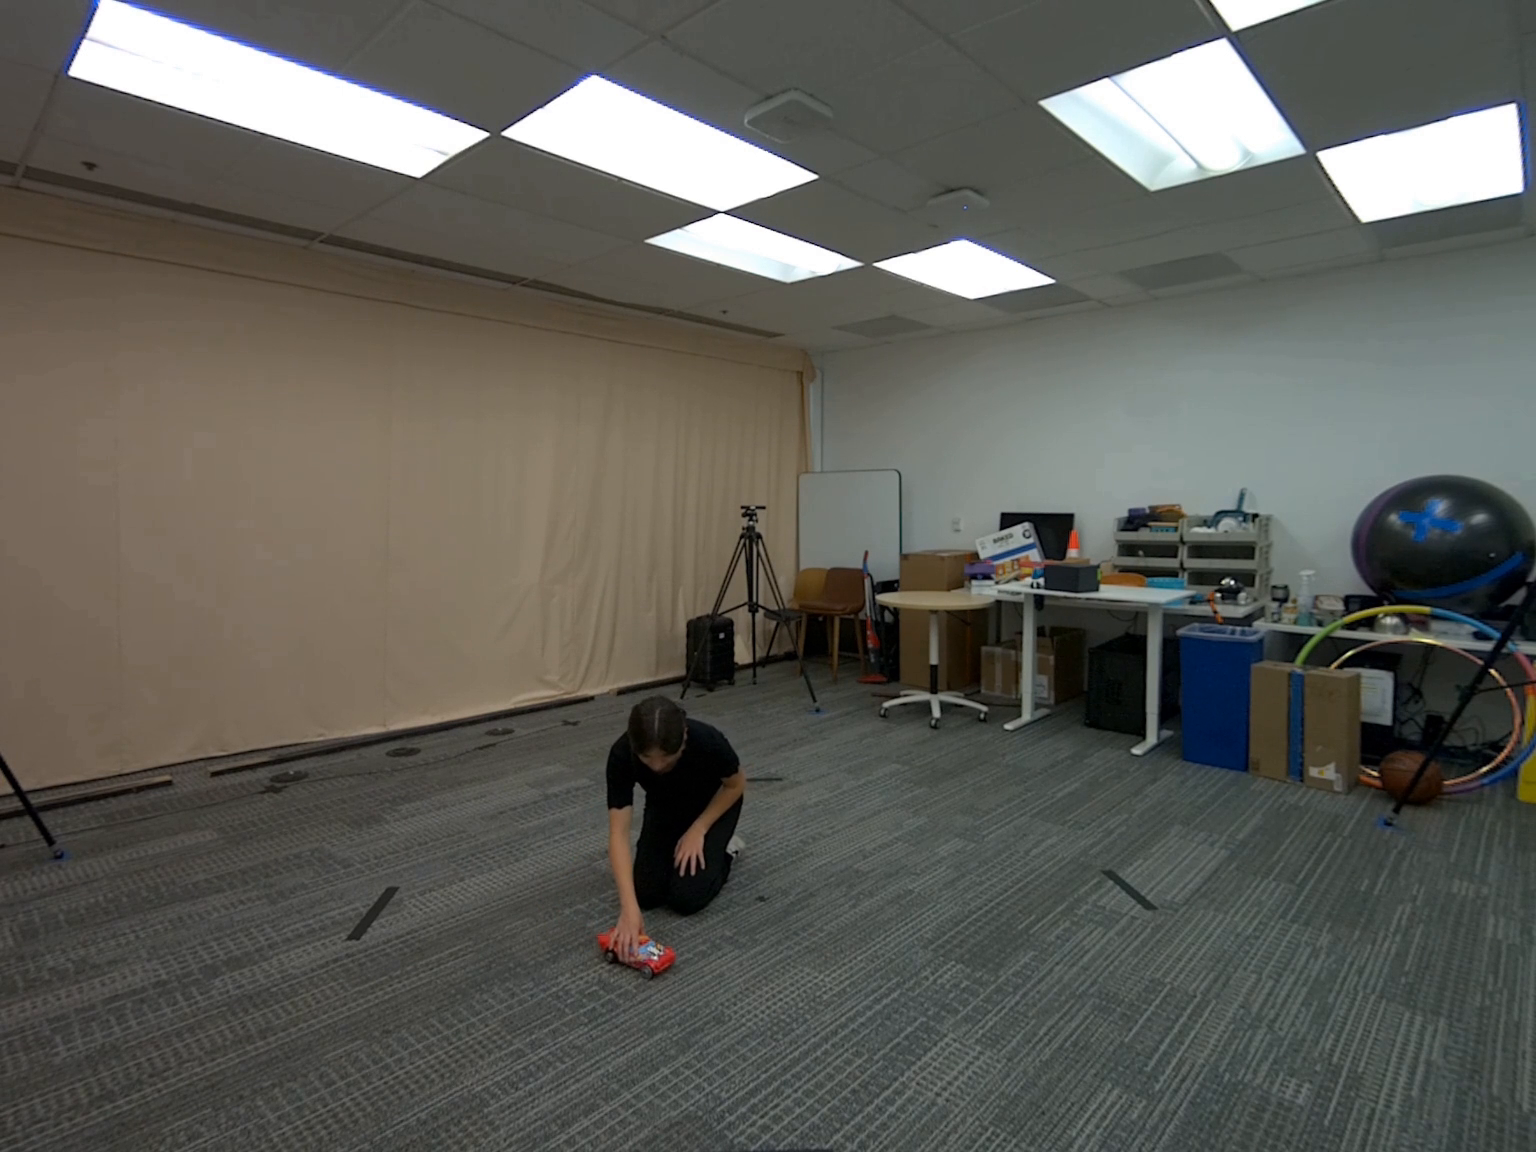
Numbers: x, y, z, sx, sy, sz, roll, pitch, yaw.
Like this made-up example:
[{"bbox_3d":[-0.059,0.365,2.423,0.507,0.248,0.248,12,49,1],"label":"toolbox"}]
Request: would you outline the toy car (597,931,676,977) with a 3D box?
[{"bbox_3d":[-0.415,1.144,2.585,0.263,0.083,0.127,16,14,34],"label":"toy car"}]
